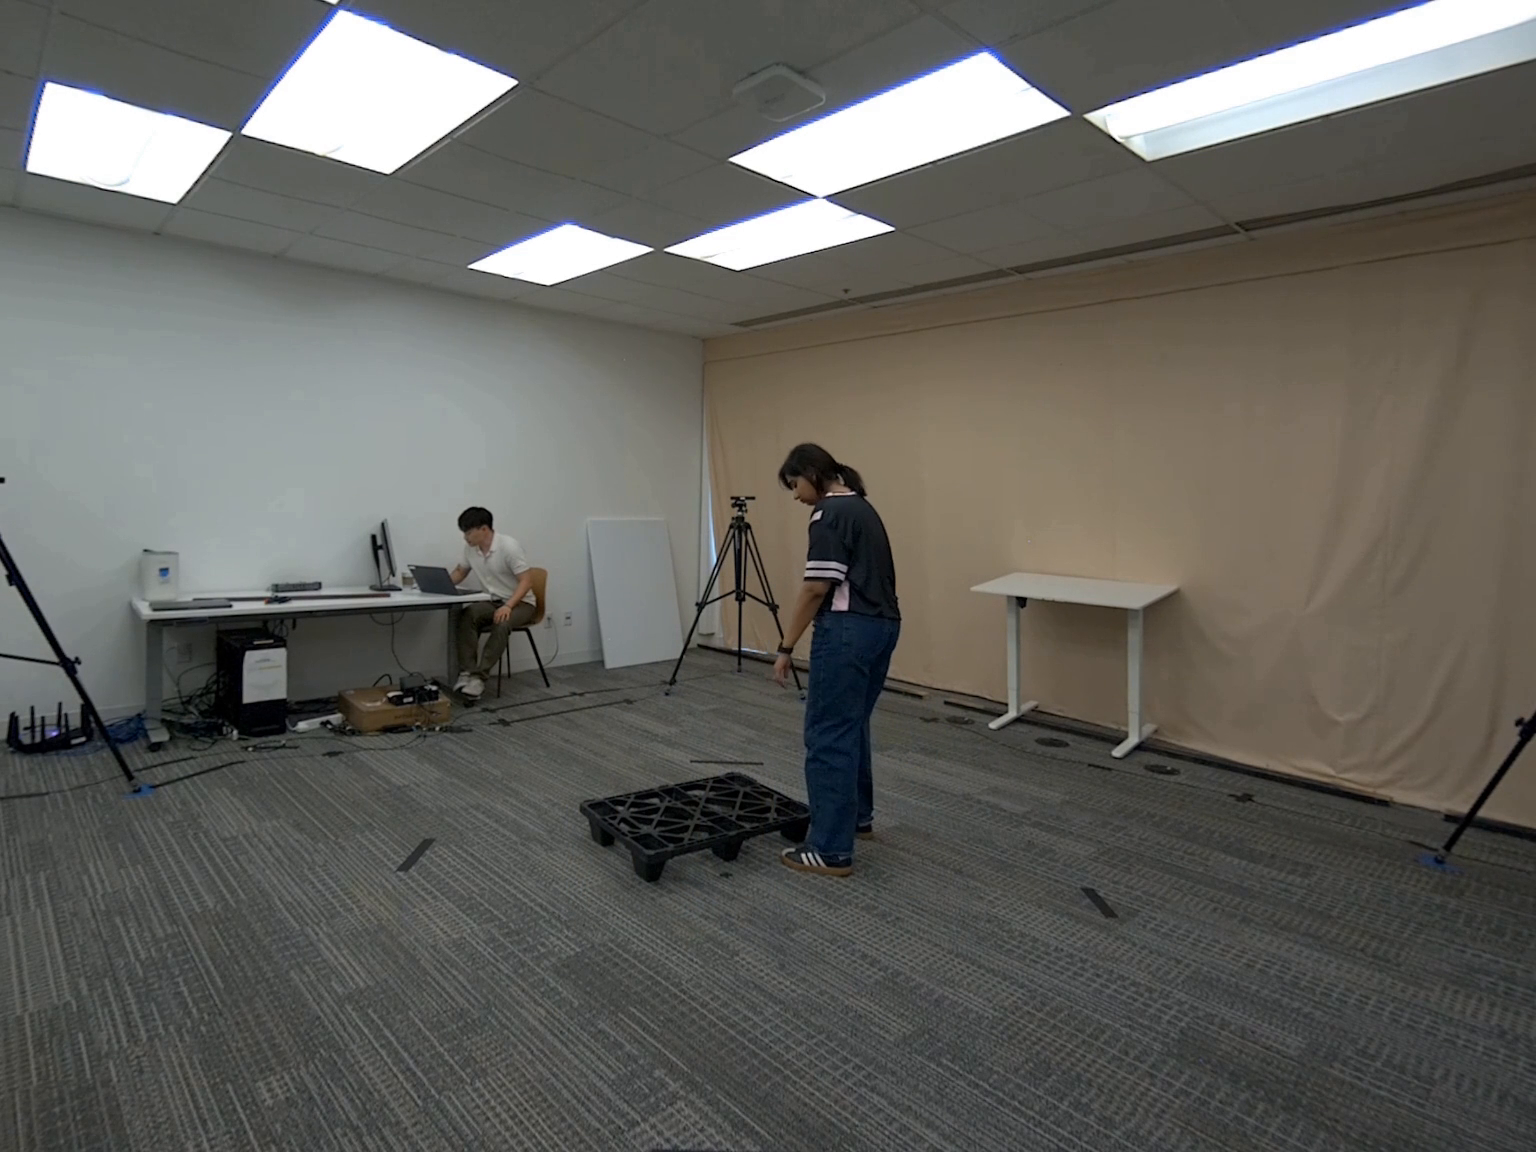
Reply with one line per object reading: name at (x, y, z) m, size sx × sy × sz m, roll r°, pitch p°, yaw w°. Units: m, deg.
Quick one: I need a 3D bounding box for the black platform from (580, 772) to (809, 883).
black platform at (-0.290, 1.008, 3.422) m, size 0.788 × 0.143 × 0.620 m, roll -2°, pitch 5°, yaw -36°
